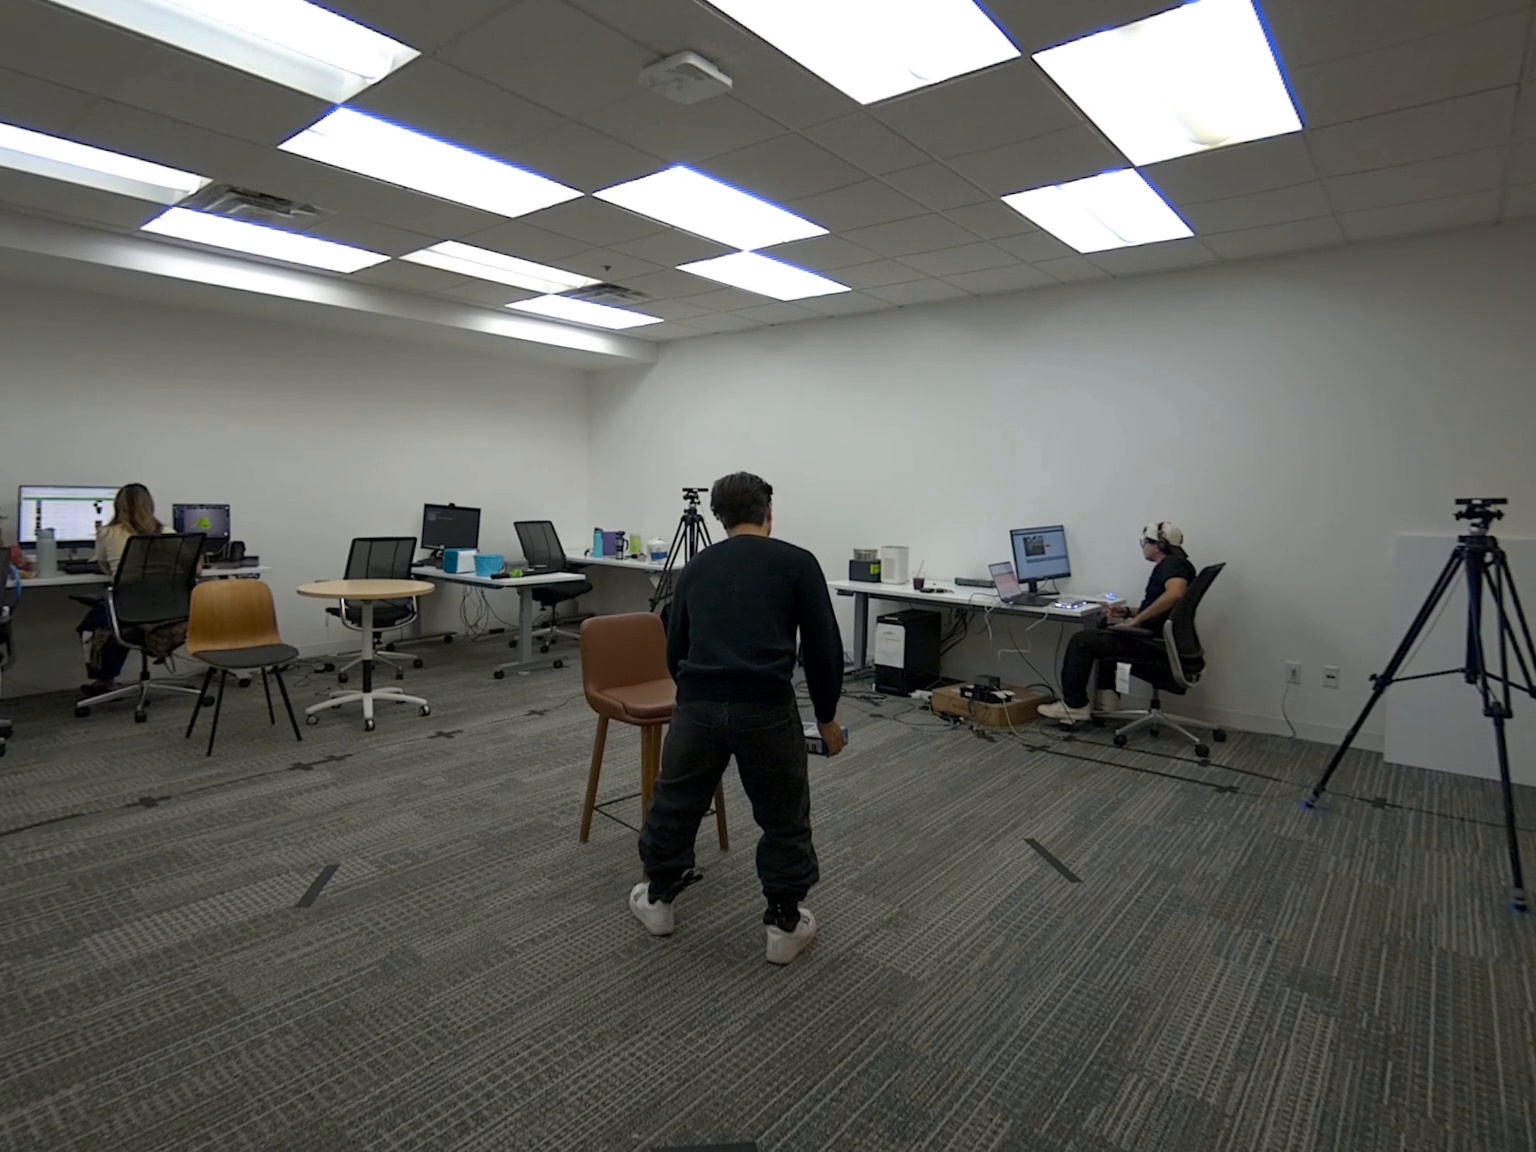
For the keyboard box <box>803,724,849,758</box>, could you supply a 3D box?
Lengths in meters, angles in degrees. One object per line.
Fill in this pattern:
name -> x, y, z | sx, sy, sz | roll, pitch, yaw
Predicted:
keyboard box -> 0.025, 0.528, 2.854 | 0.450, 0.059, 0.171 | 1, 3, 33
